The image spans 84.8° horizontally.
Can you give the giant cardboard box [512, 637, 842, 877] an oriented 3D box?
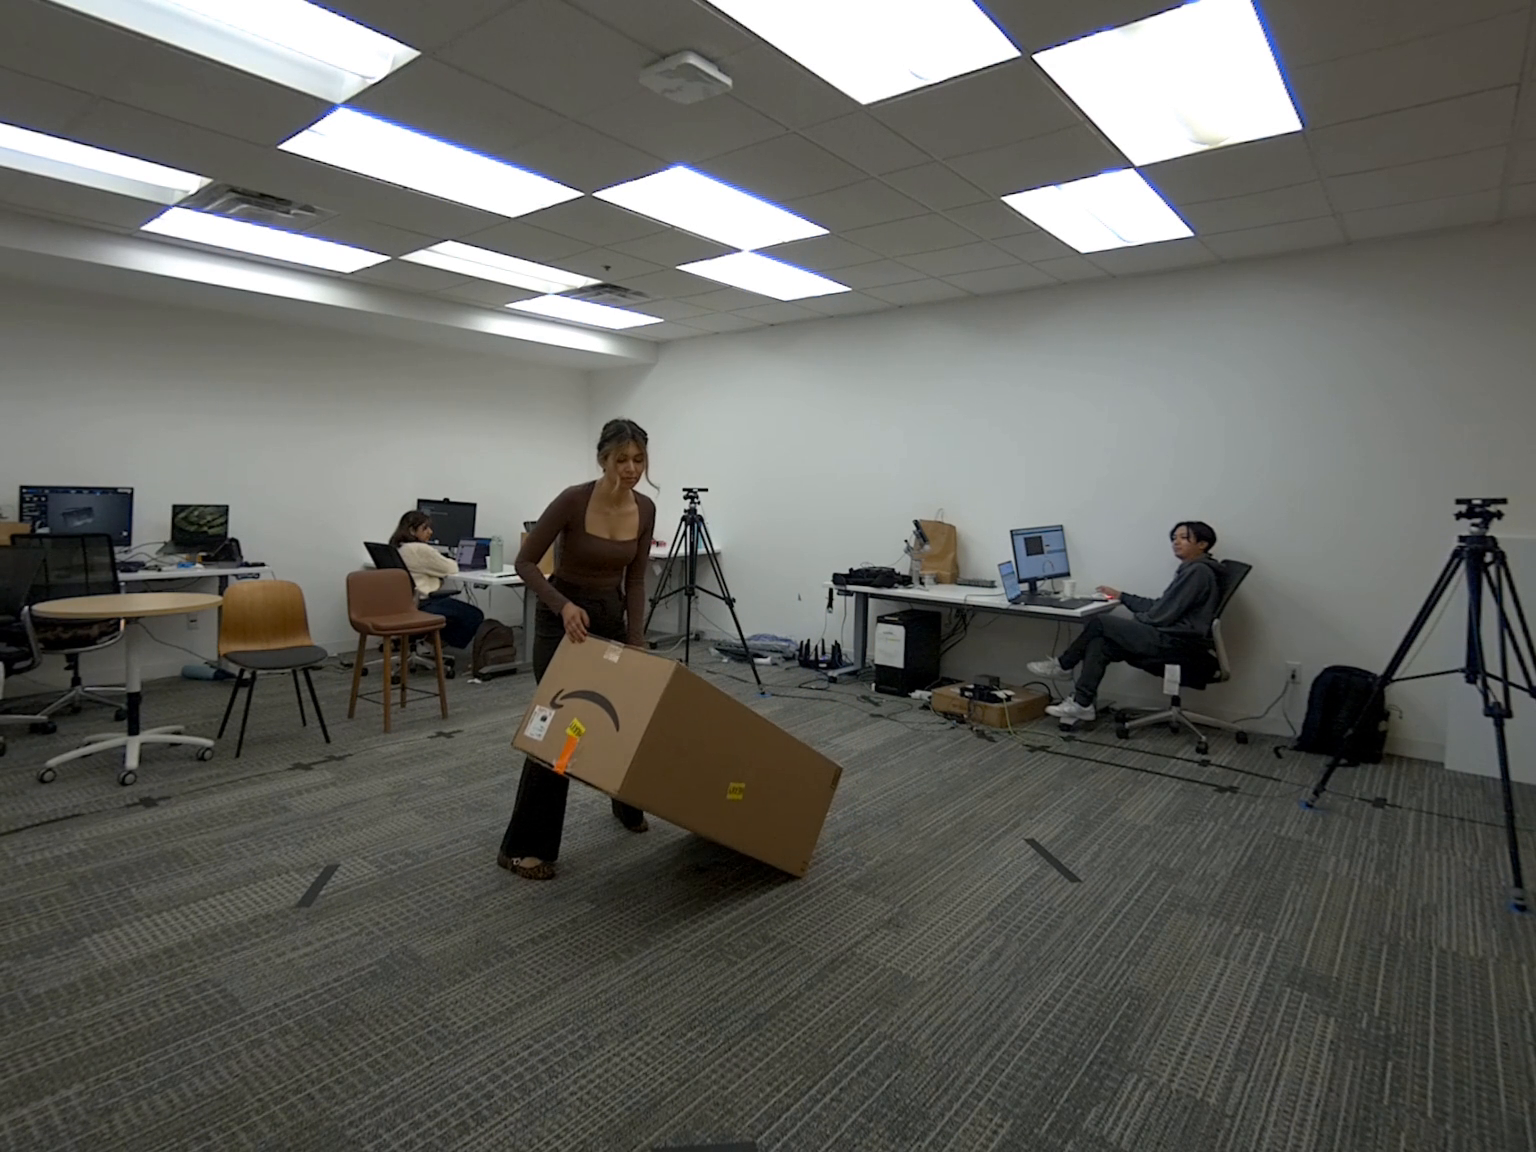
[{"bbox_3d":[-0.294,0.636,2.988,0.605,0.450,0.984,9,-22,43],"label":"giant cardboard box"}]
